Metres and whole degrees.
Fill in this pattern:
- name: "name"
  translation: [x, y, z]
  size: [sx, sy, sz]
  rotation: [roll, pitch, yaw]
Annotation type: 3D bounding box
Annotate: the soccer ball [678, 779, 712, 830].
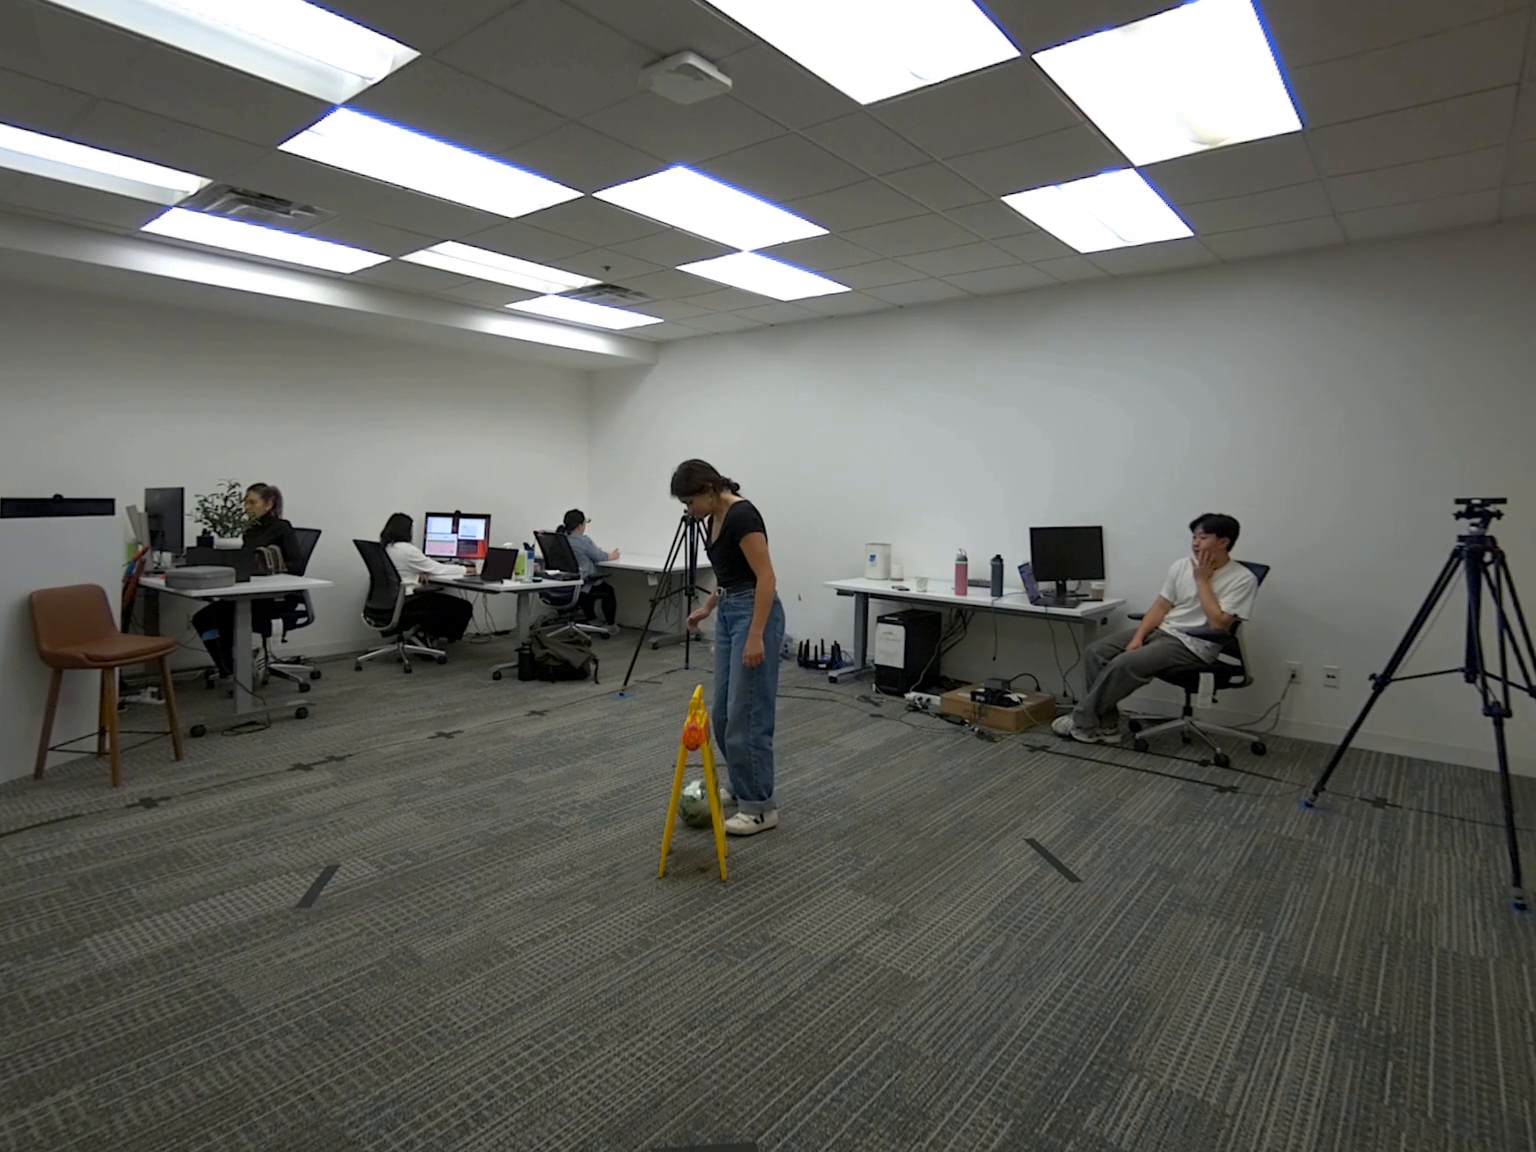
- name: "soccer ball"
  translation: [-0.294, 0.934, 3.538]
  size: [0.187, 0.187, 0.188]
  rotation: [1, 4, -2]
